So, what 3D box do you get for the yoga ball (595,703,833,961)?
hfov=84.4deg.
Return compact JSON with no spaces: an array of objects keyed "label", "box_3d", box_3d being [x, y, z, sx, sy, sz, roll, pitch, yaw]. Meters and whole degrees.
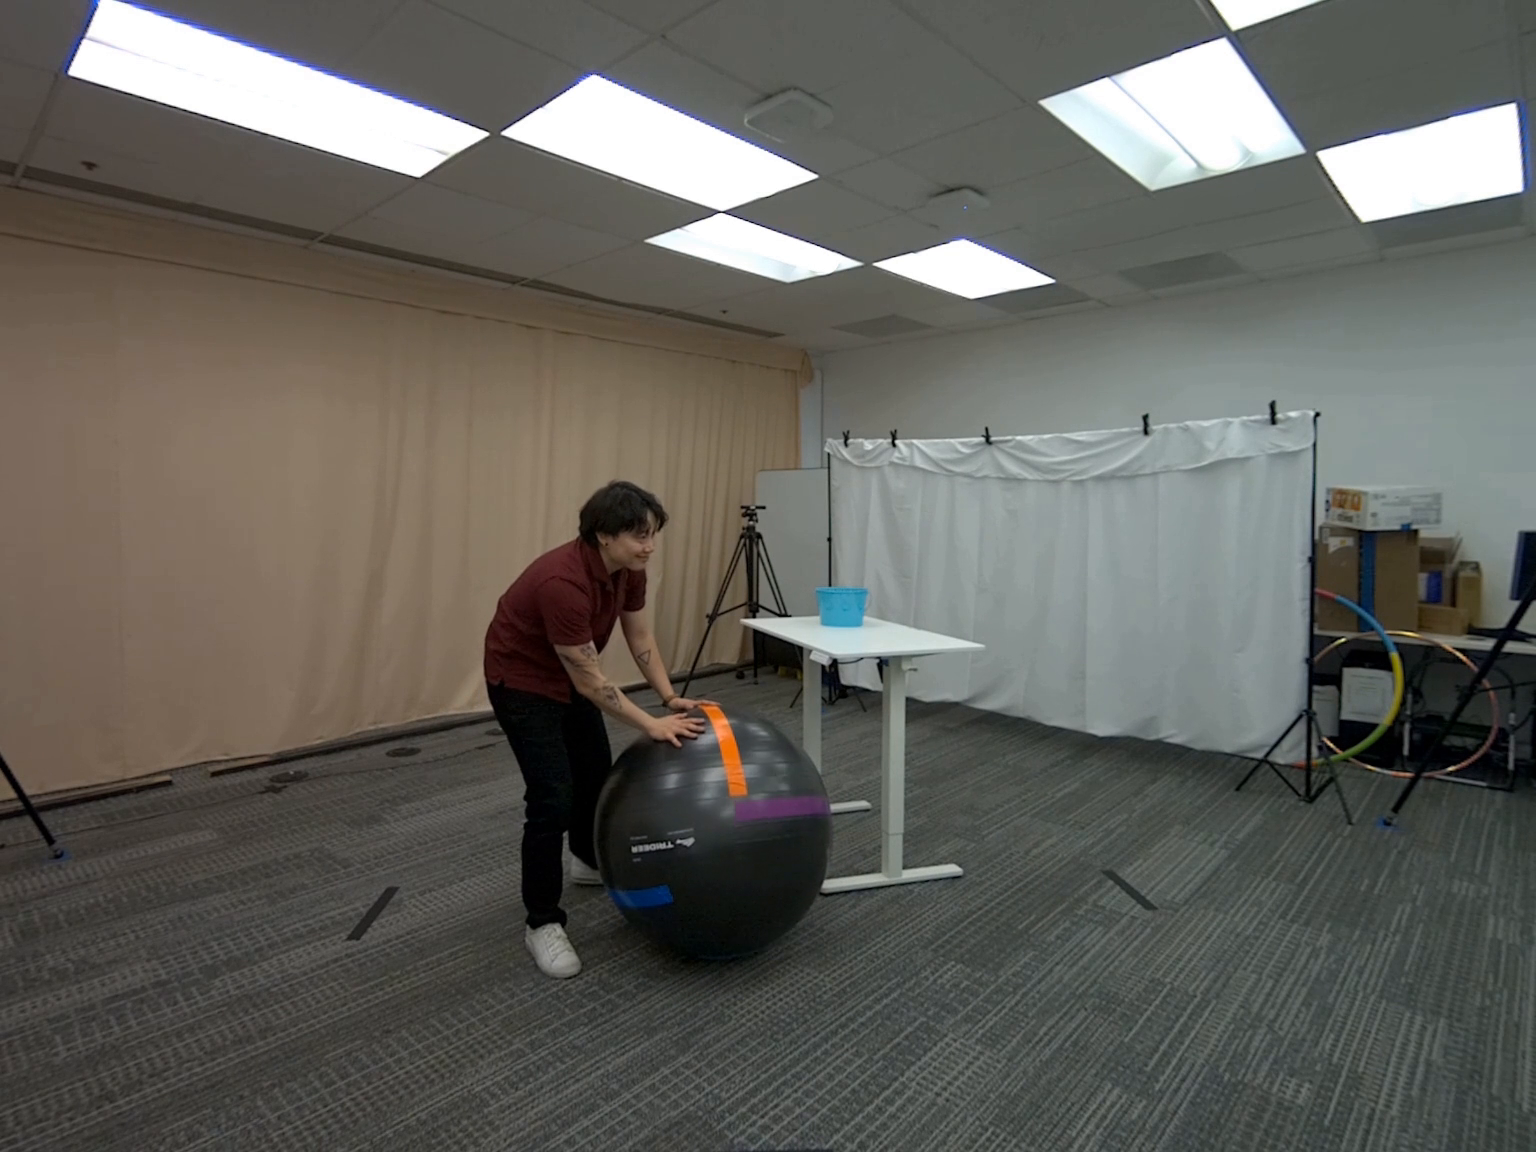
[{"label":"yoga ball","box_3d":[-0.182,0.810,2.675,0.757,0.756,0.760,0,4,-2]}]
